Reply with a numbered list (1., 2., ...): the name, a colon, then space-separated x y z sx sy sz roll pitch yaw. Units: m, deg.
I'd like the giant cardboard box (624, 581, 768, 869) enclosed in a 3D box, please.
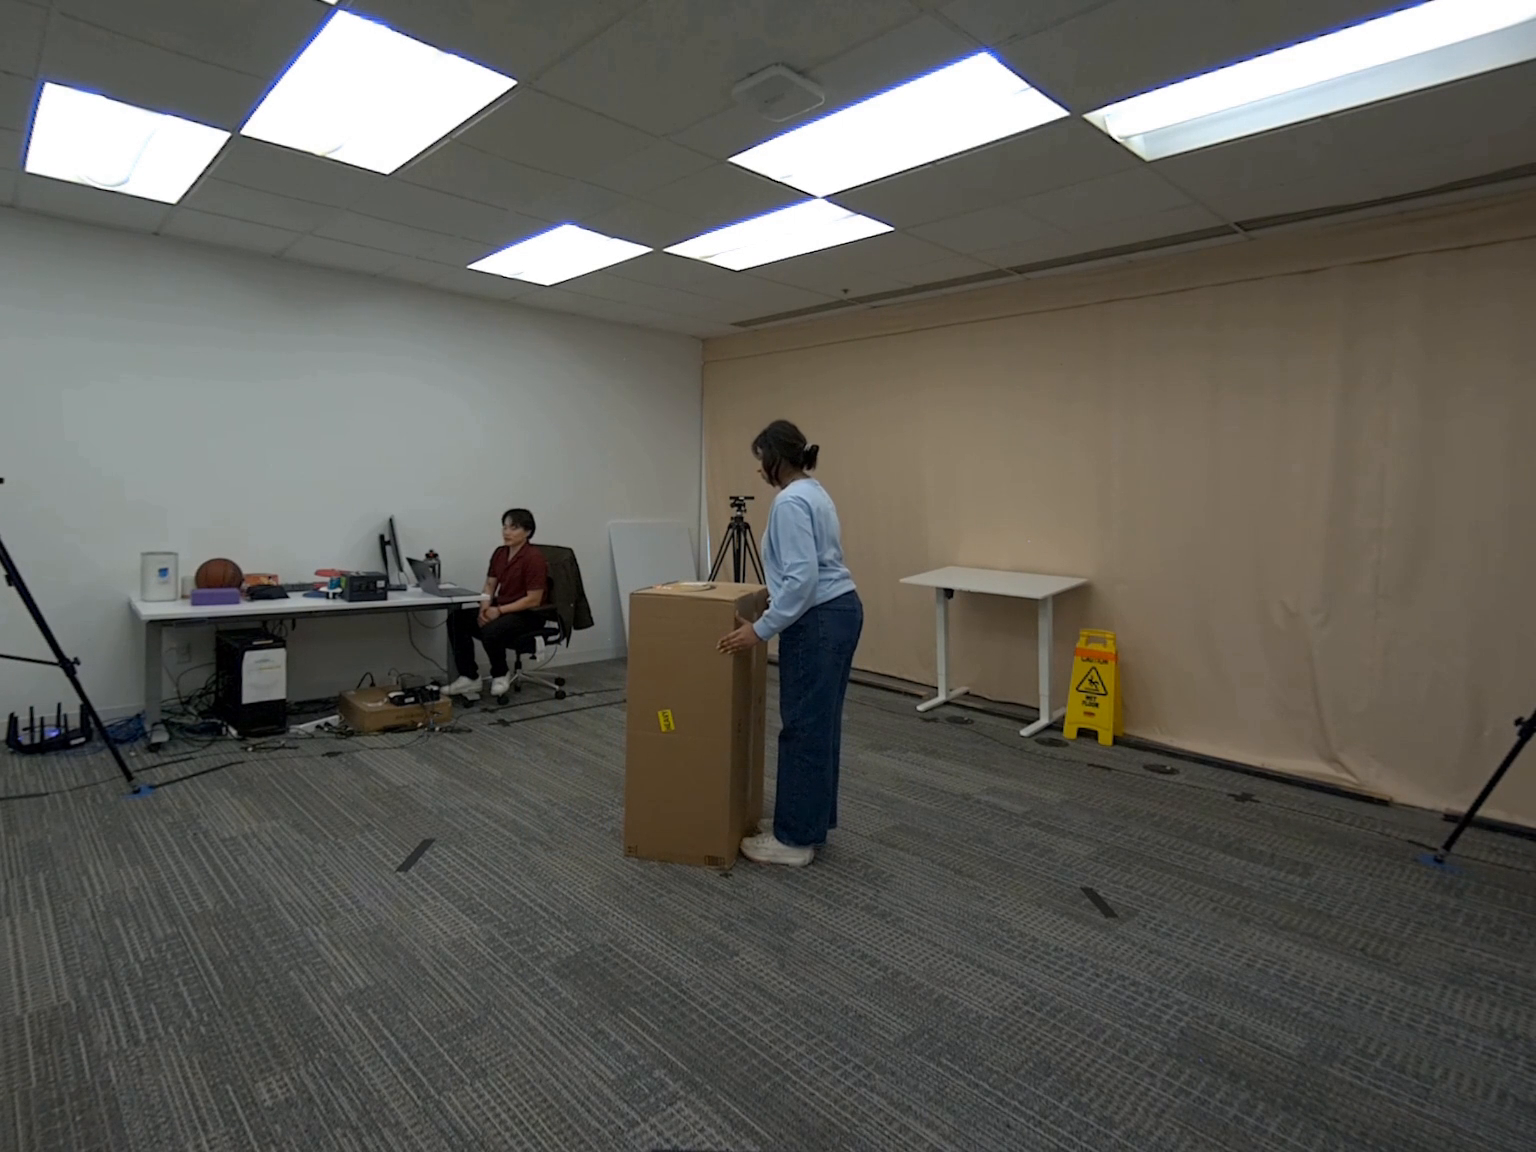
1. giant cardboard box: -0.282 0.562 3.442 0.431 1.024 0.572 2 3 13
